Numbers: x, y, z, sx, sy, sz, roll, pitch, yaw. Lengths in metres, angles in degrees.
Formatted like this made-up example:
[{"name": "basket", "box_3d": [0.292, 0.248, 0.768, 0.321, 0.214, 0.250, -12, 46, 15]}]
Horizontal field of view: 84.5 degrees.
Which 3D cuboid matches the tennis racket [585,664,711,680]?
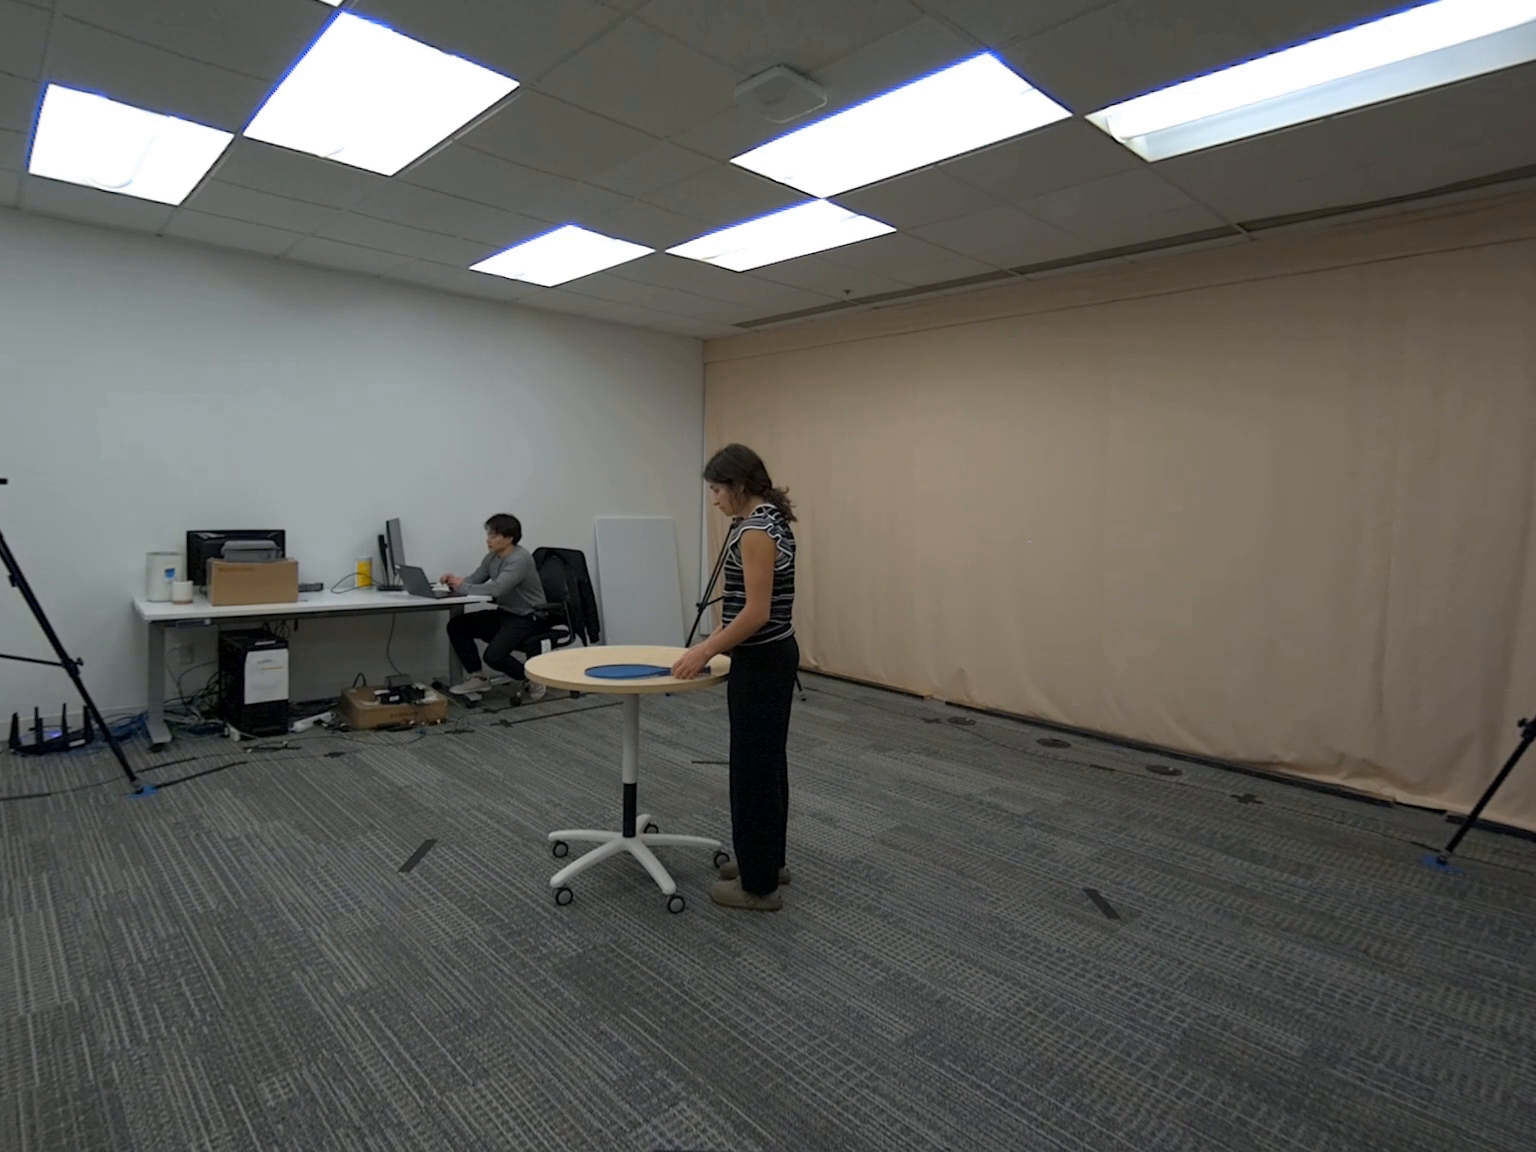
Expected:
[{"name": "tennis racket", "box_3d": [-0.416, 0.328, 2.865, 0.433, 0.032, 0.214, 0, 4, -1]}]
